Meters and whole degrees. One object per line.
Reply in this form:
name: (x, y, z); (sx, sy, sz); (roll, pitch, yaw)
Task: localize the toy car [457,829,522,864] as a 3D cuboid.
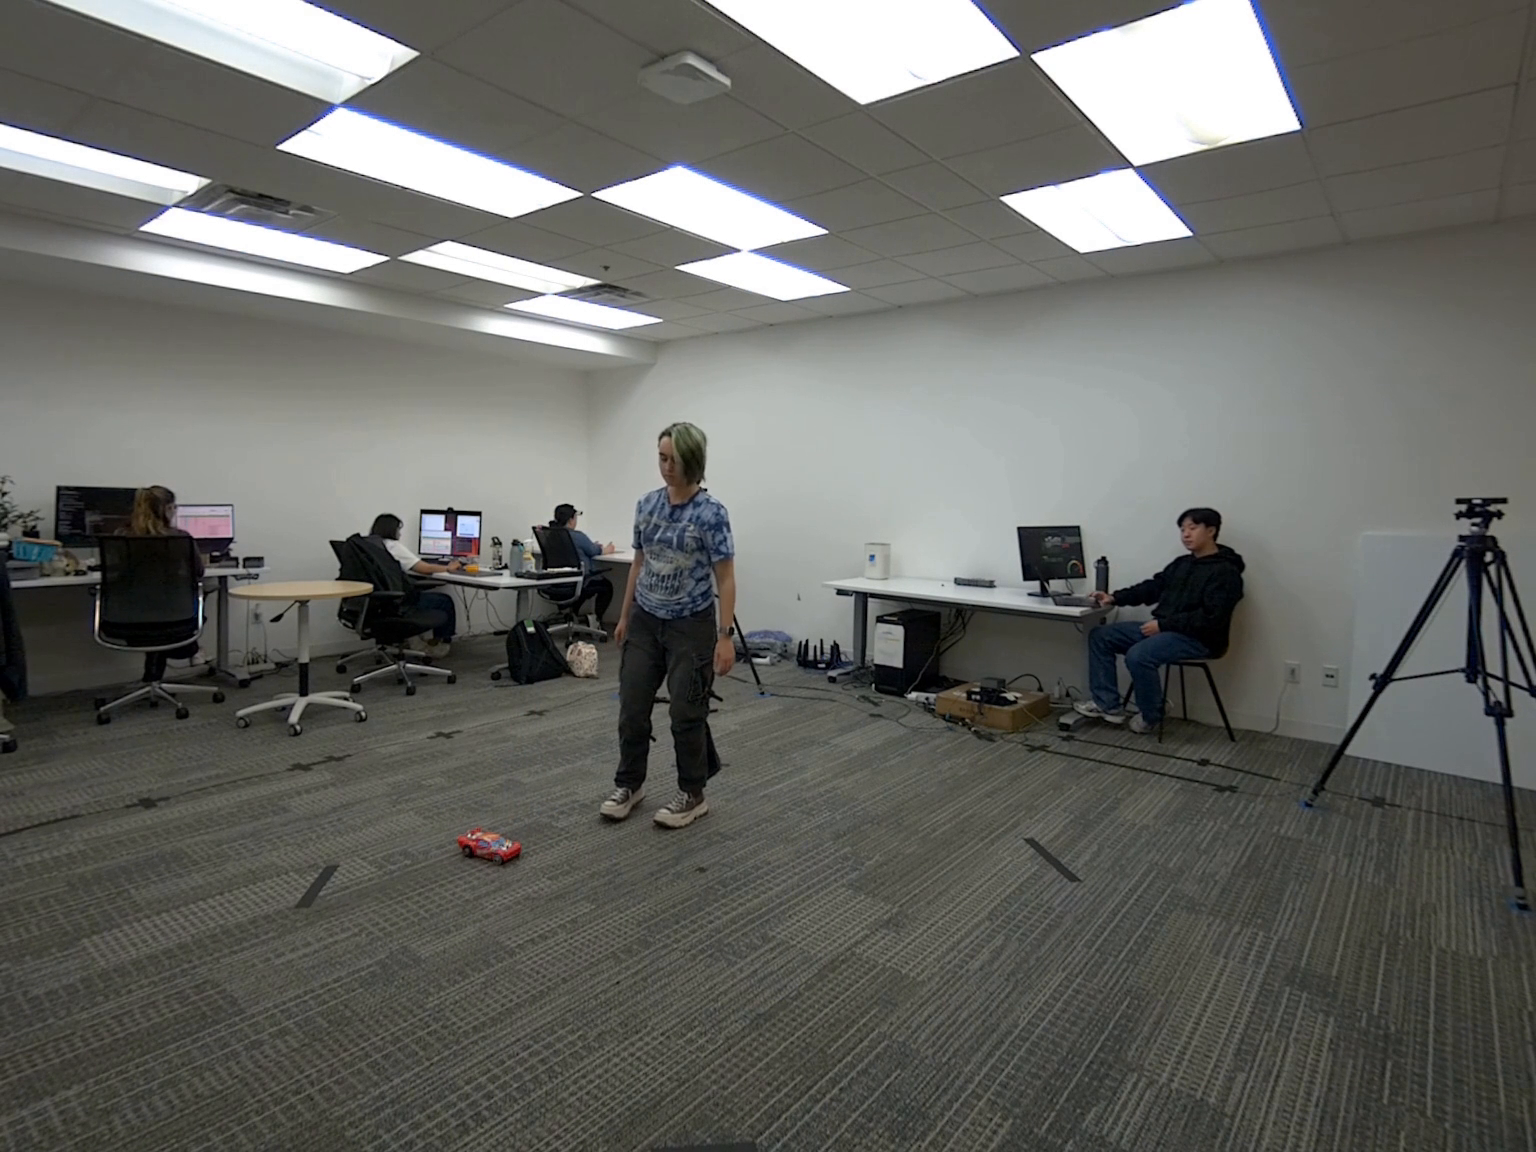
toy car: (-1.071, 1.017, 3.197); (0.262, 0.083, 0.127); (14, 10, 25)
